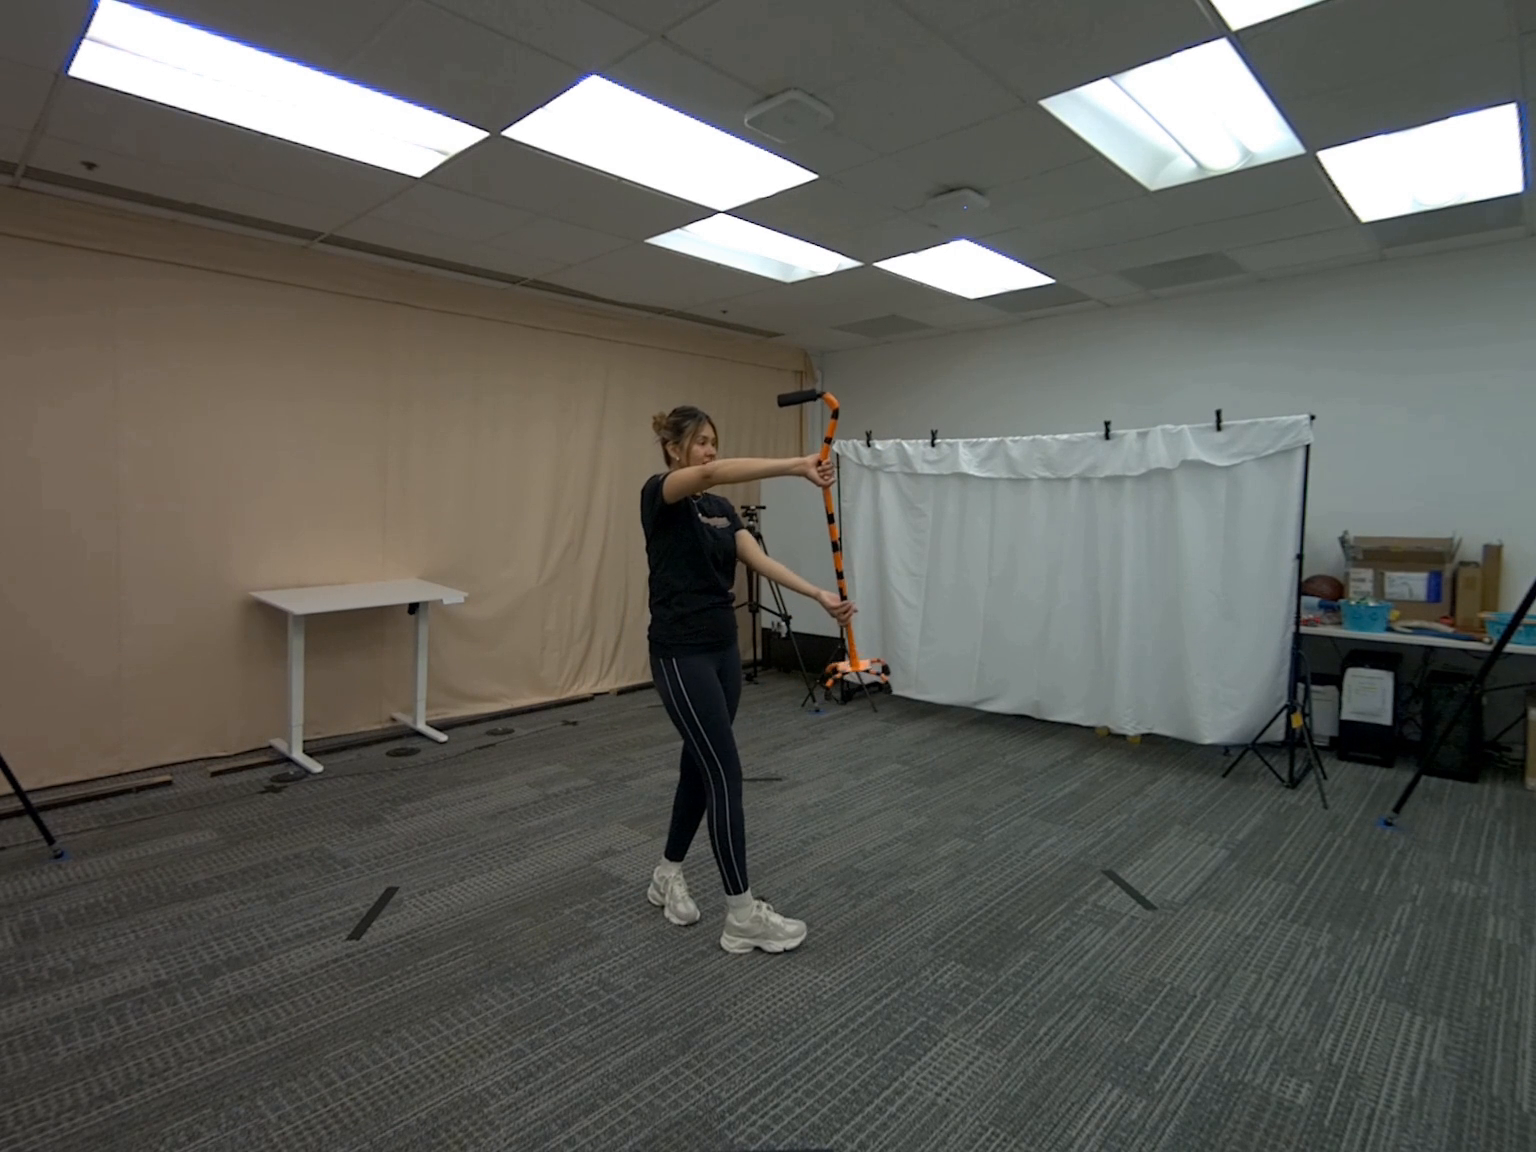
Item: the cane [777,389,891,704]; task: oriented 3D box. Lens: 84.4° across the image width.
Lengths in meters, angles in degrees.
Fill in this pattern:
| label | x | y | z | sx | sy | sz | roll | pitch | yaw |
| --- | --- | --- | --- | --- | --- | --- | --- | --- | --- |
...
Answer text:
| label | x | y | z | sx | sy | sz | roll | pitch | yaw |
| --- | --- | --- | --- | --- | --- | --- | --- | --- | --- |
| cane | 0.213 | -0.094 | 2.436 | 0.208 | 0.897 | 0.152 | -9 | 14 | 7 |
